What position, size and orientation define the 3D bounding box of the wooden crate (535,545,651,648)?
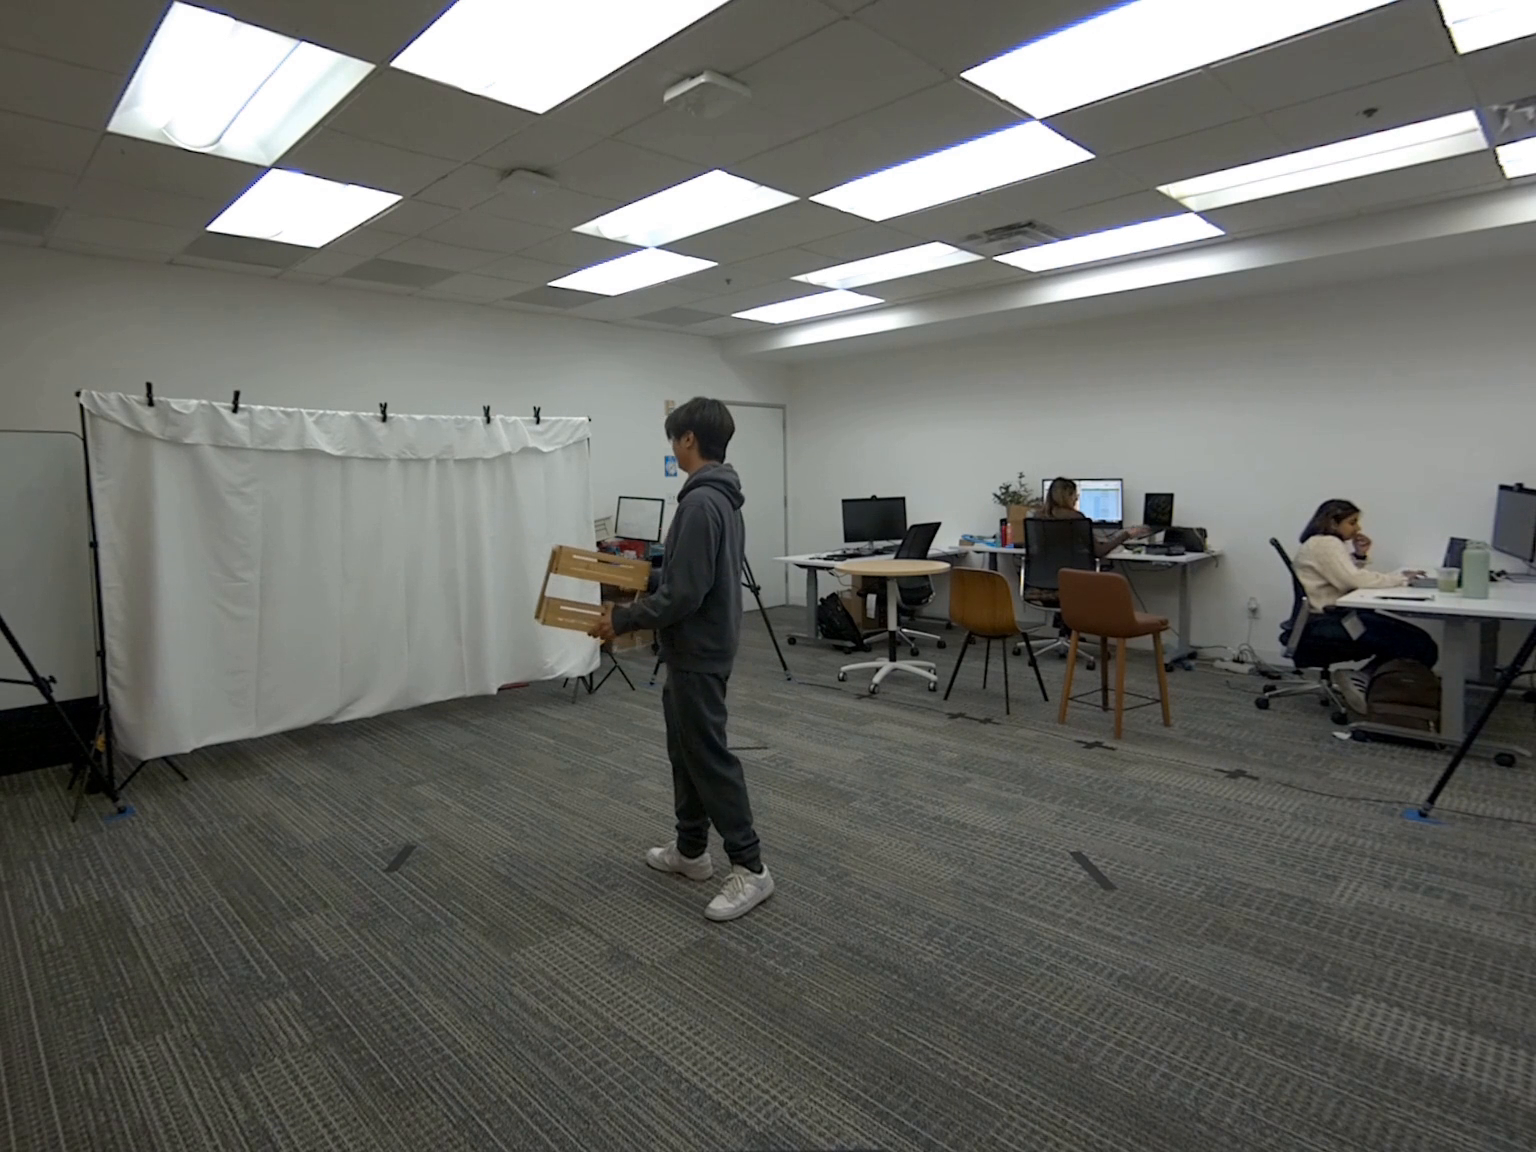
[{"bbox_3d":[-0.582,0.041,2.857,0.318,0.274,0.307,11,-1,-18],"label":"wooden crate"}]
